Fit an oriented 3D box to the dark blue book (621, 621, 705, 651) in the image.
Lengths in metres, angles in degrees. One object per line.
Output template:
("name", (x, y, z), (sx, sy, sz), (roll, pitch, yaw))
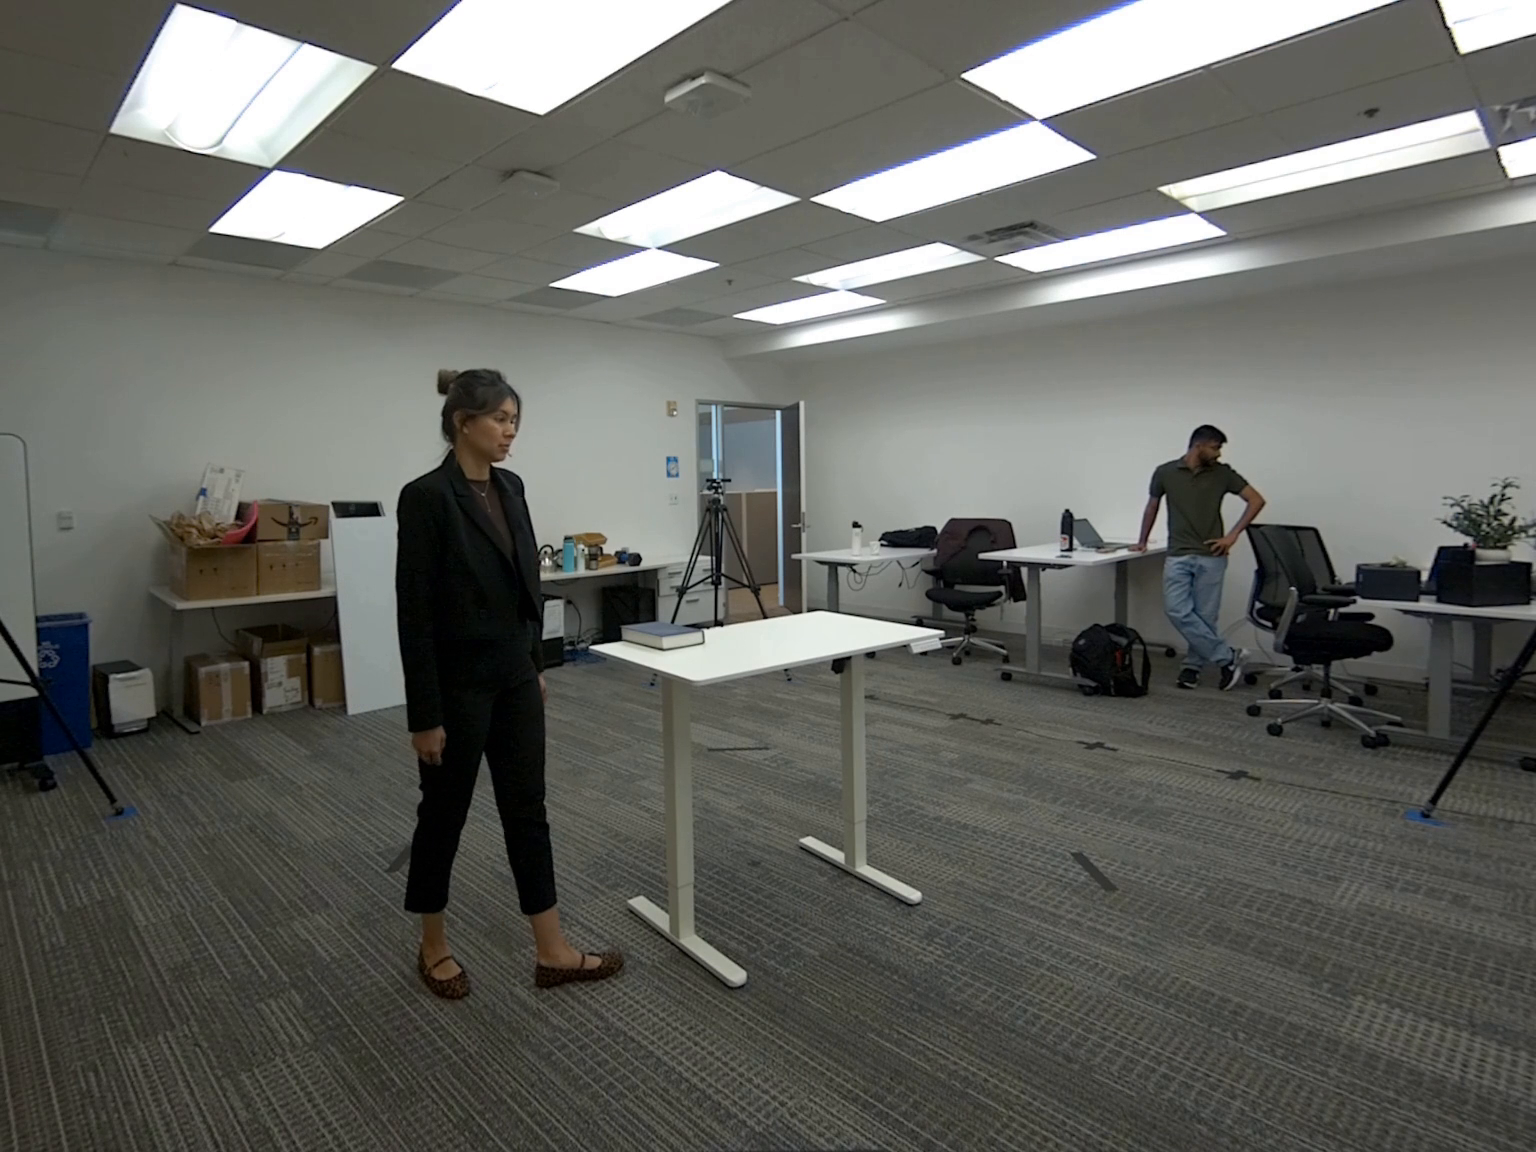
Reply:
("dark blue book", (-0.342, 0.190, 2.741), (0.159, 0.045, 0.253), (-6, 8, -40))
